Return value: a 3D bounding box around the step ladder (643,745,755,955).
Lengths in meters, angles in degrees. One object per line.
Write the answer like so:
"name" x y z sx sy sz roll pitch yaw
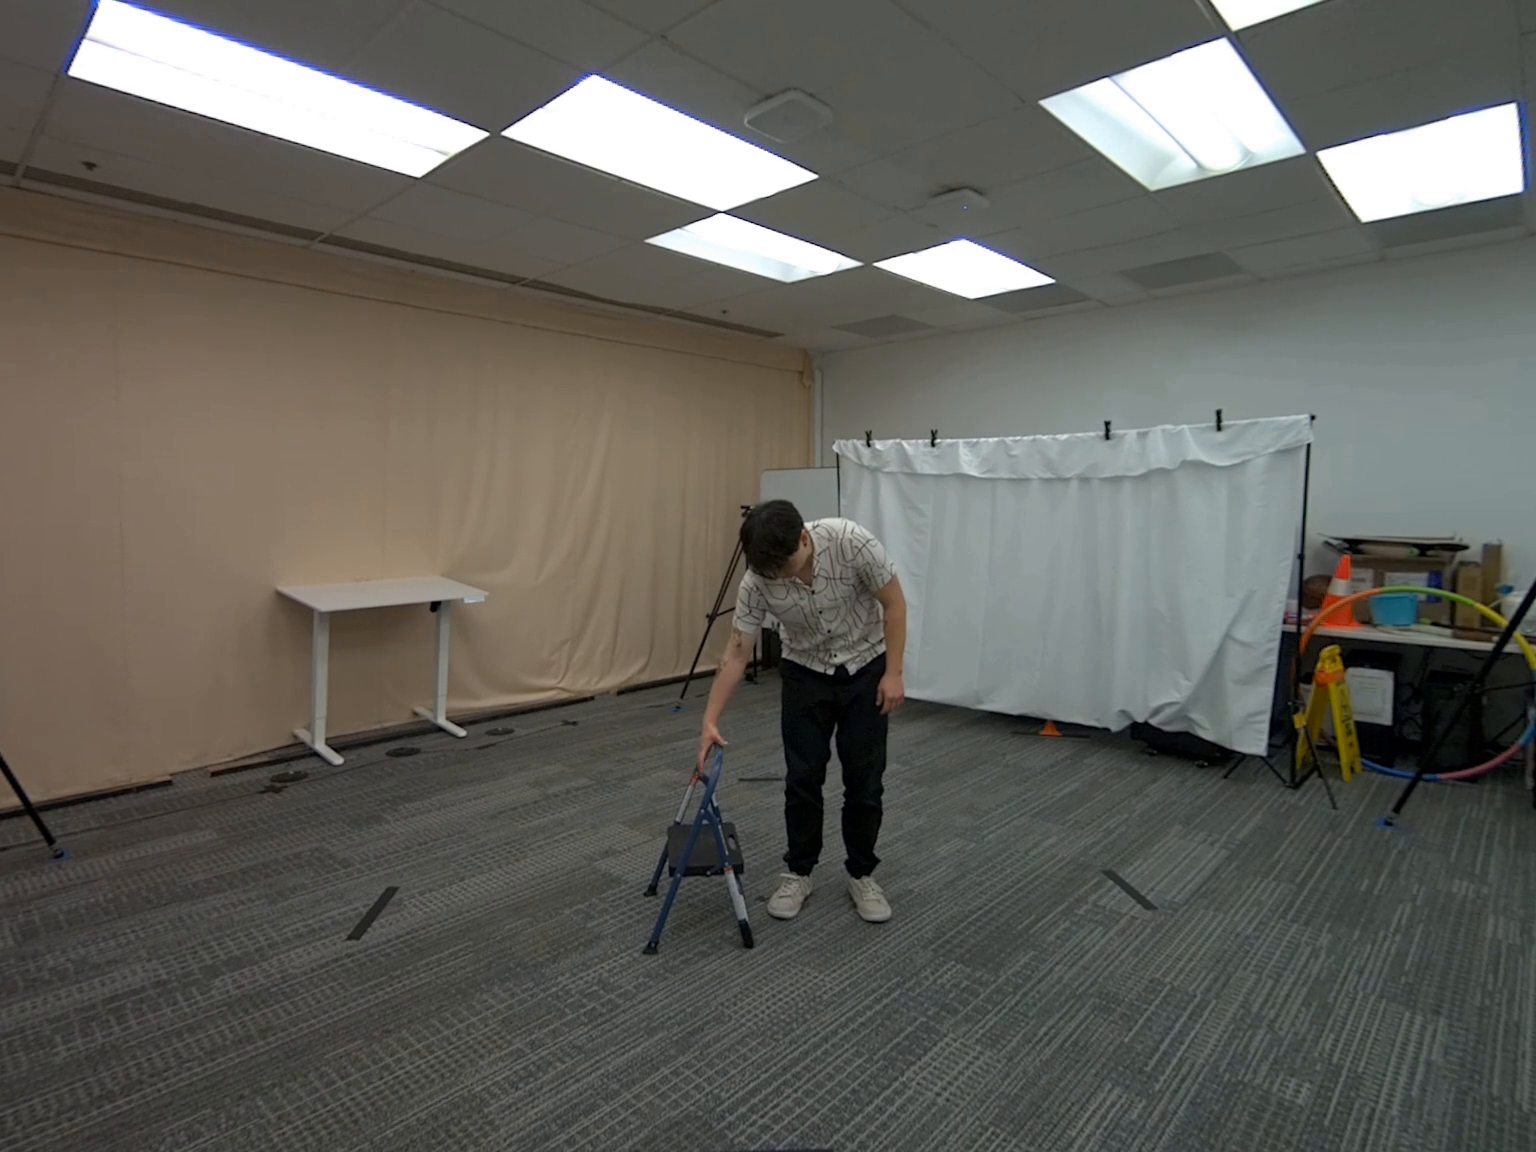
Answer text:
"step ladder" -0.238 0.861 2.817 0.346 0.605 0.435 -1 4 -8
